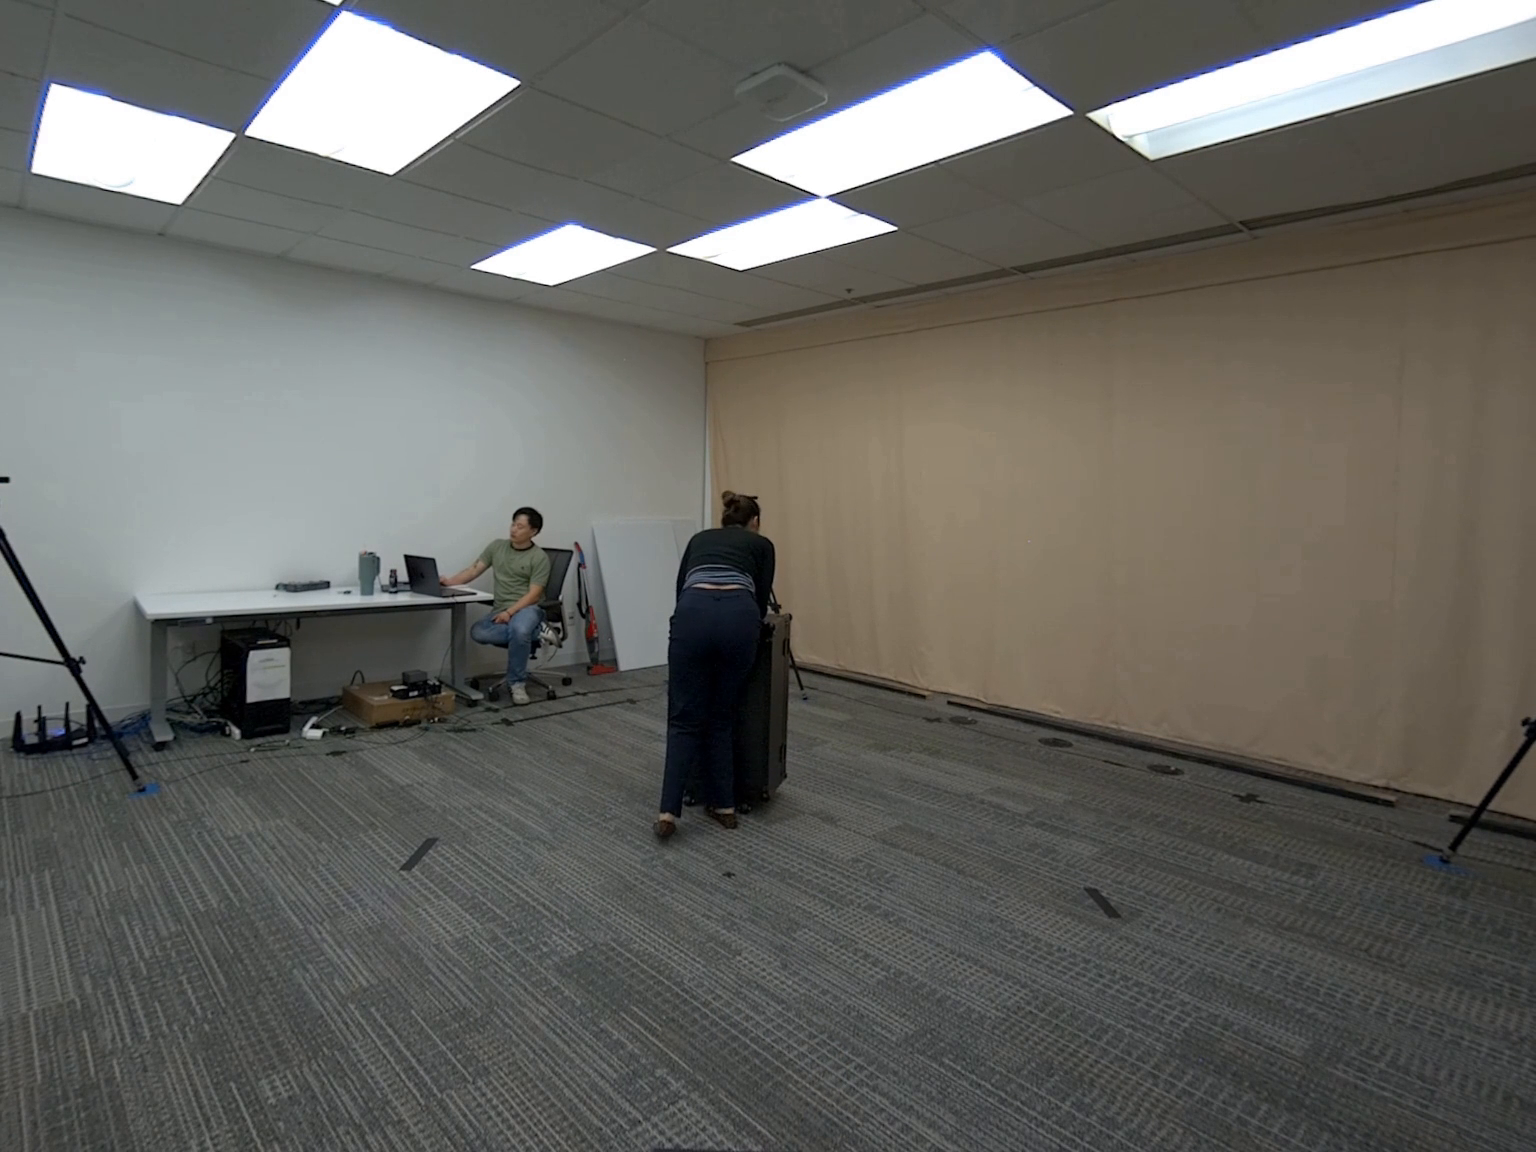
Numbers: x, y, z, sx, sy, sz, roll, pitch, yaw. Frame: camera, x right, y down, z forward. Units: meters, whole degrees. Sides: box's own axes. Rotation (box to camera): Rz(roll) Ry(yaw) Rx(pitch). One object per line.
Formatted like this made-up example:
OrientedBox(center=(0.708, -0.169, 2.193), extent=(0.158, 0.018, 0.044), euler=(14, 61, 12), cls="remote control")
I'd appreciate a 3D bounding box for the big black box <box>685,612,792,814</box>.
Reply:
OrientedBox(center=(-0.183, 0.613, 3.897), extent=(0.529, 0.859, 0.392), euler=(3, 4, 18), cls="big black box")
